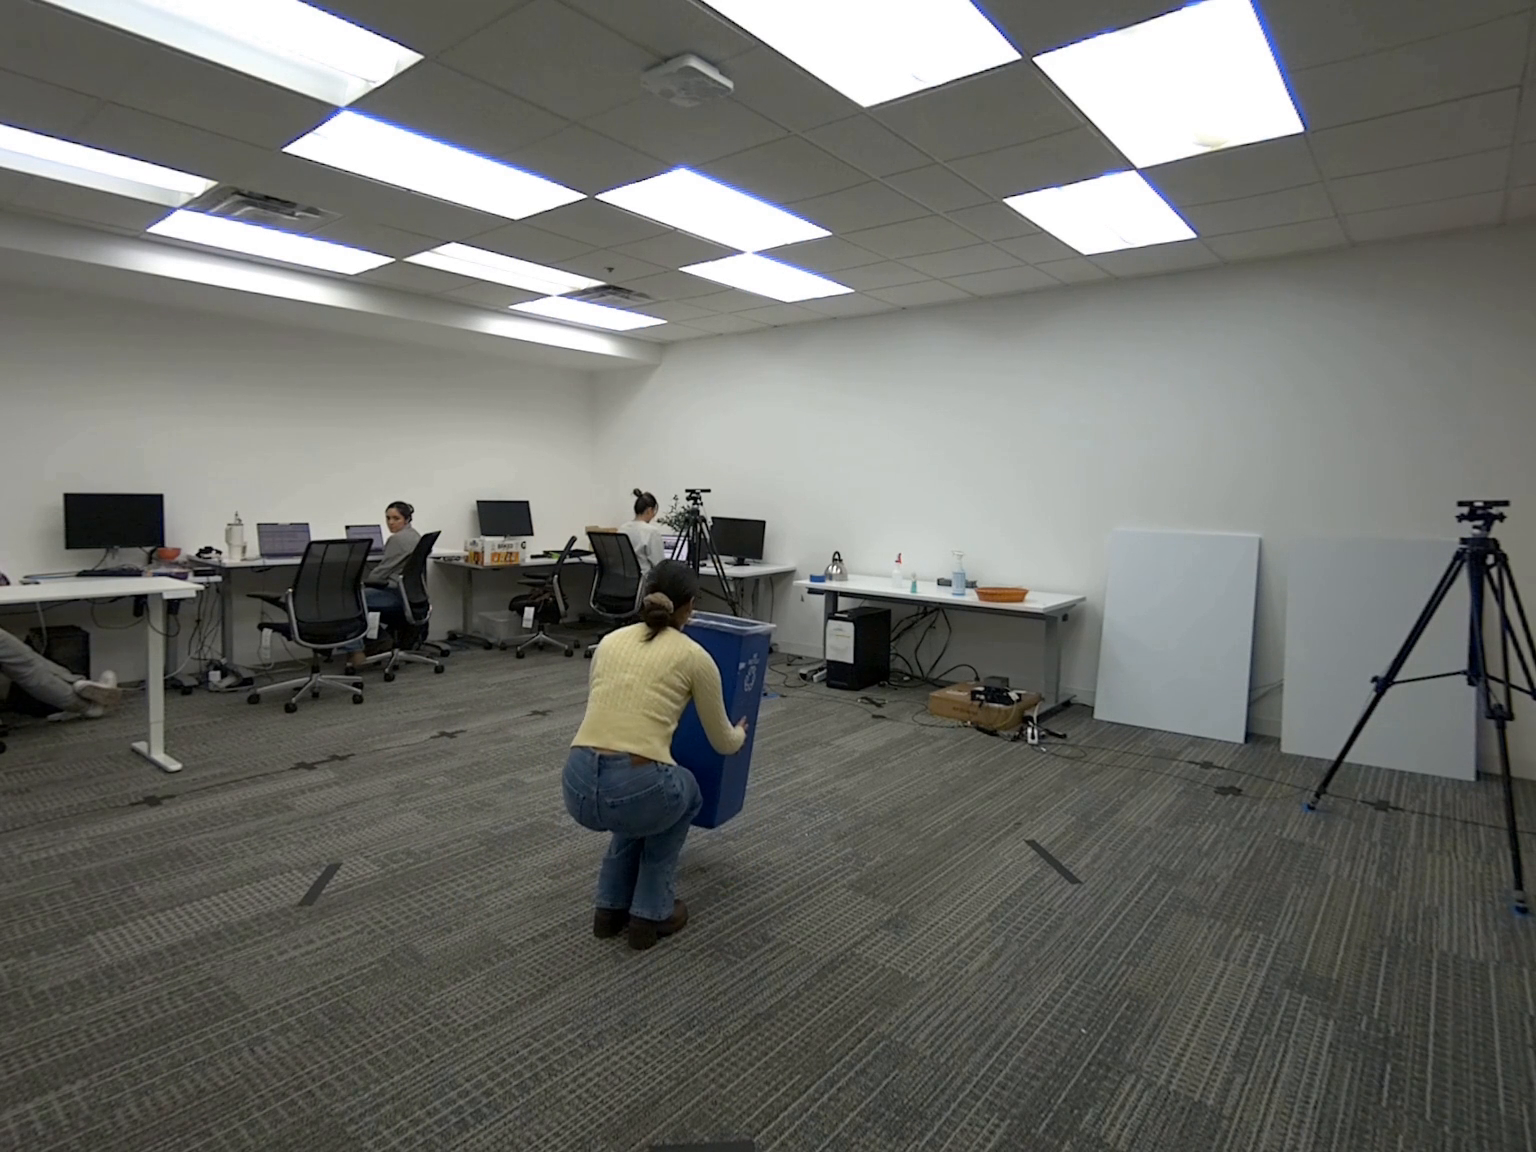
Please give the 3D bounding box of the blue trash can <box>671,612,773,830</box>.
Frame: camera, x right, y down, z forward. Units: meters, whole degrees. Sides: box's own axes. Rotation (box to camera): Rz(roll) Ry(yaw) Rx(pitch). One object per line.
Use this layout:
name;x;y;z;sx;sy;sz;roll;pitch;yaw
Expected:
blue trash can;-0.243;0.504;3.151;0.387;0.714;0.365;8;0;20
